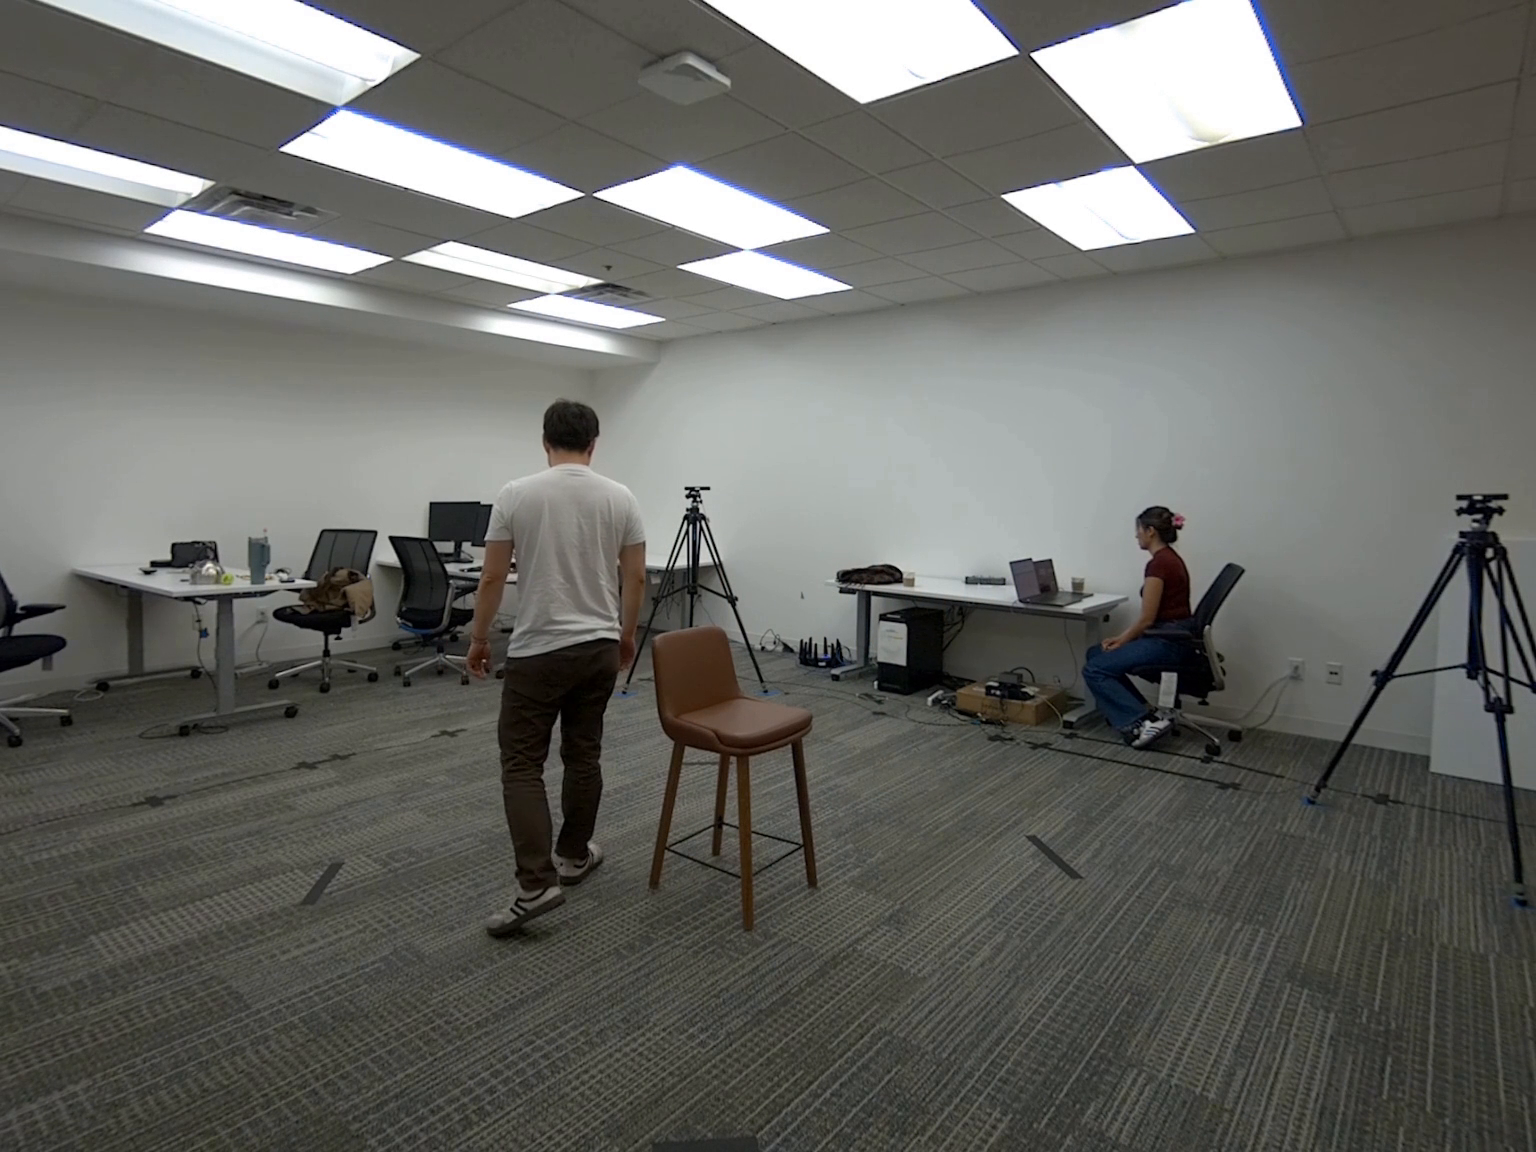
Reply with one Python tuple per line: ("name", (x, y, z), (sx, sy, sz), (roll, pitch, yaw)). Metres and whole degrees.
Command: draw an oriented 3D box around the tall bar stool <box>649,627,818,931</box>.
("tall bar stool", (-0.133, 0.648, 2.942), (0.482, 0.889, 0.443), (0, 2, 37))
